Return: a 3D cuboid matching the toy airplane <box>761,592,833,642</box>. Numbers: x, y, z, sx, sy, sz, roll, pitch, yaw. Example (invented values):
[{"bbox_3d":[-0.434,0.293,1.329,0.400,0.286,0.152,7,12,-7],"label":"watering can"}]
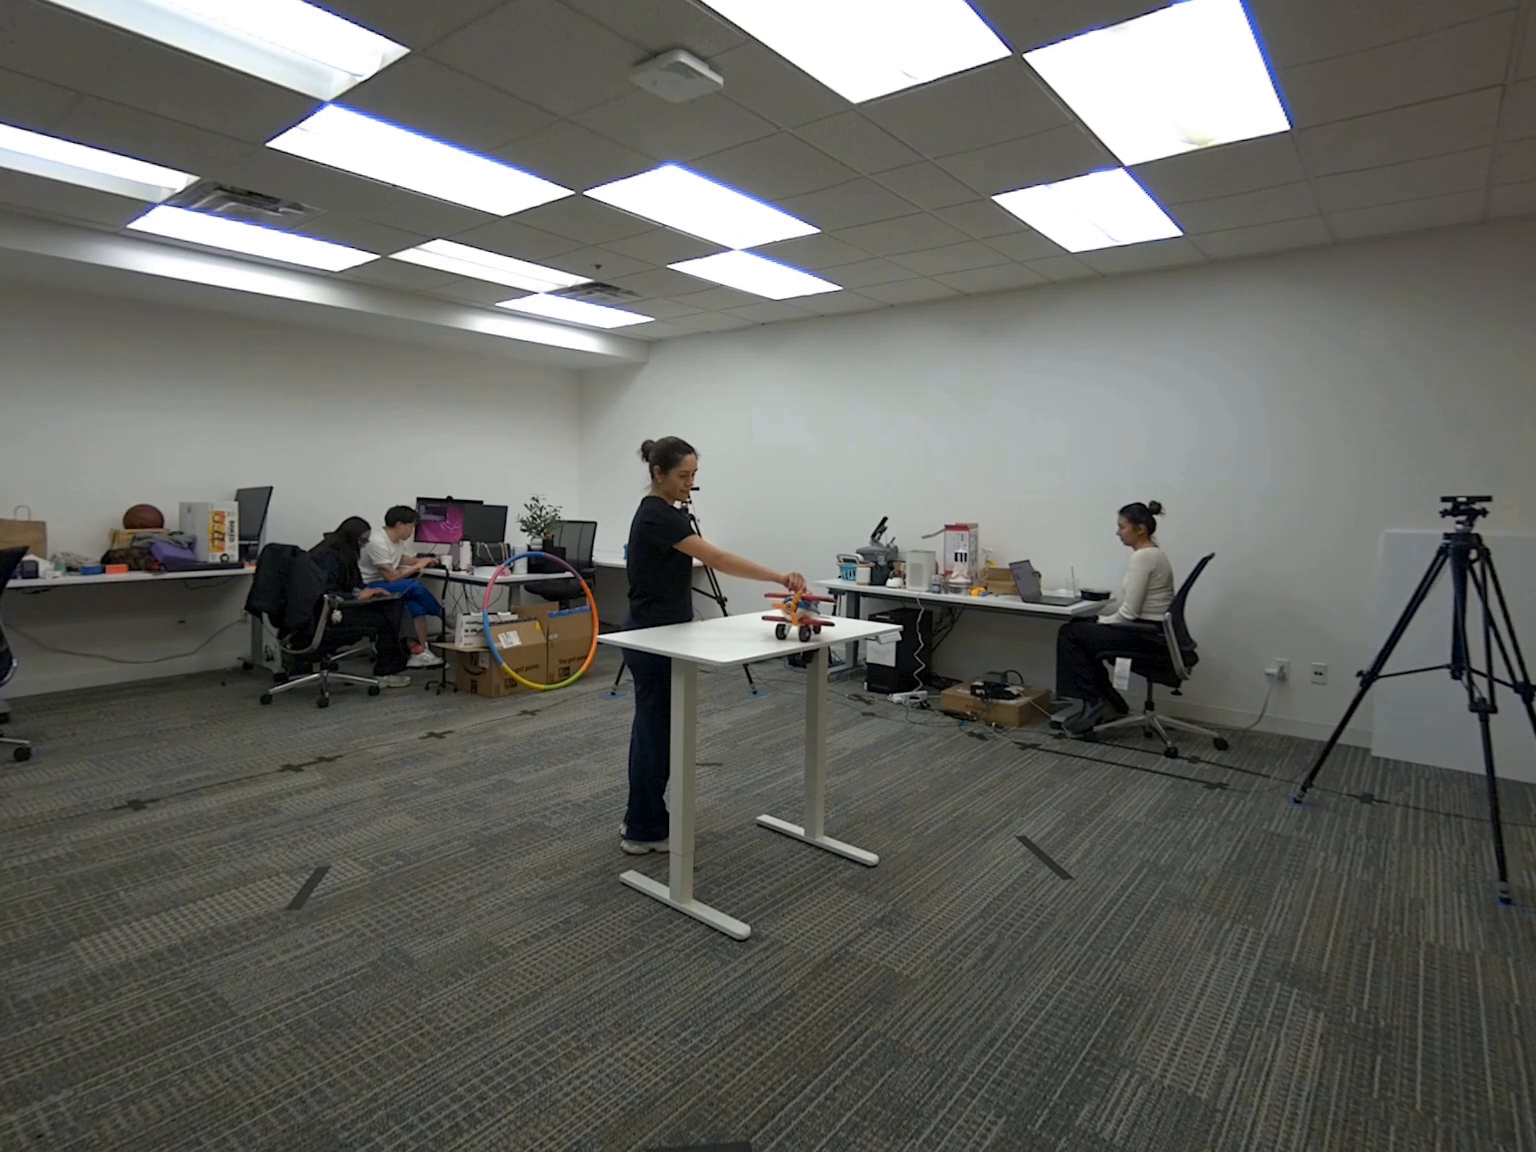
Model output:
[{"bbox_3d":[0.104,0.126,2.949,0.250,0.156,0.261,0,6,-4],"label":"toy airplane"}]
